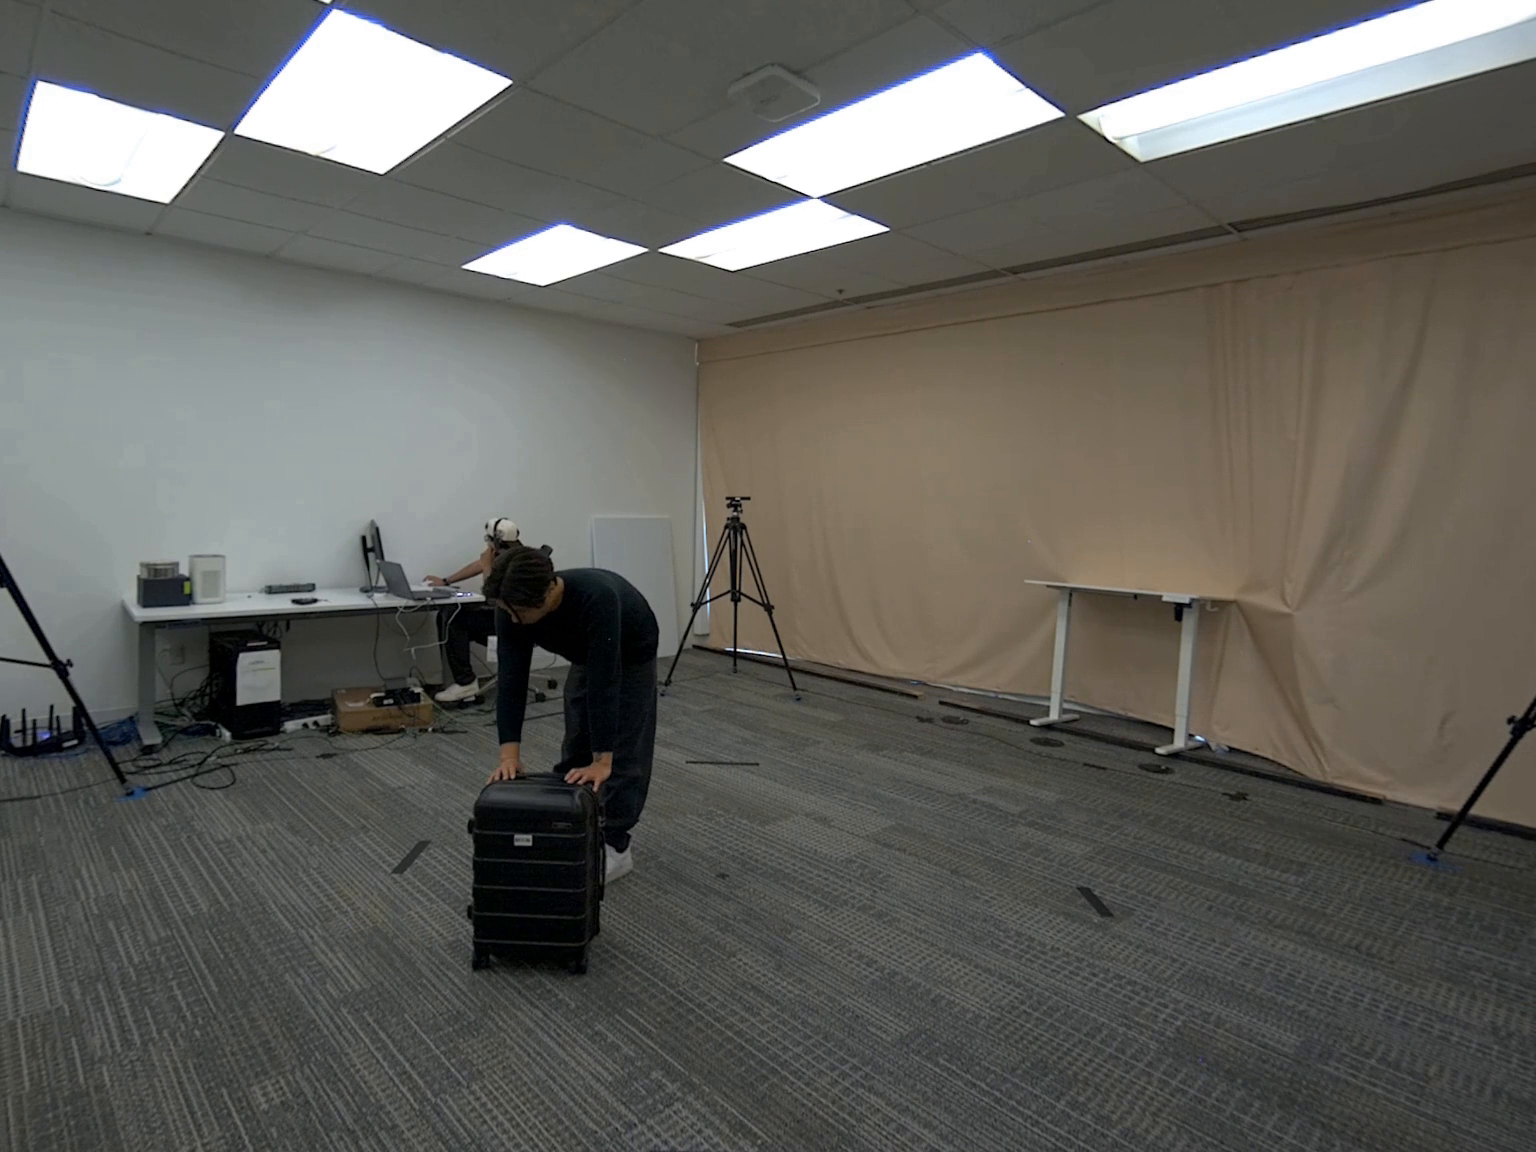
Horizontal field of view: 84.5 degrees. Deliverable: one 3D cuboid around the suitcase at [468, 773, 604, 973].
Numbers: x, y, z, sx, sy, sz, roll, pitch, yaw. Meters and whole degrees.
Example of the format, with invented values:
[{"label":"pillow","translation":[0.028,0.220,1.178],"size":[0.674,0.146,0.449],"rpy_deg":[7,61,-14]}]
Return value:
[{"label":"suitcase","translation":[-0.701,0.877,2.528],"size":[0.375,0.547,0.249],"rpy_deg":[2,5,0]}]
